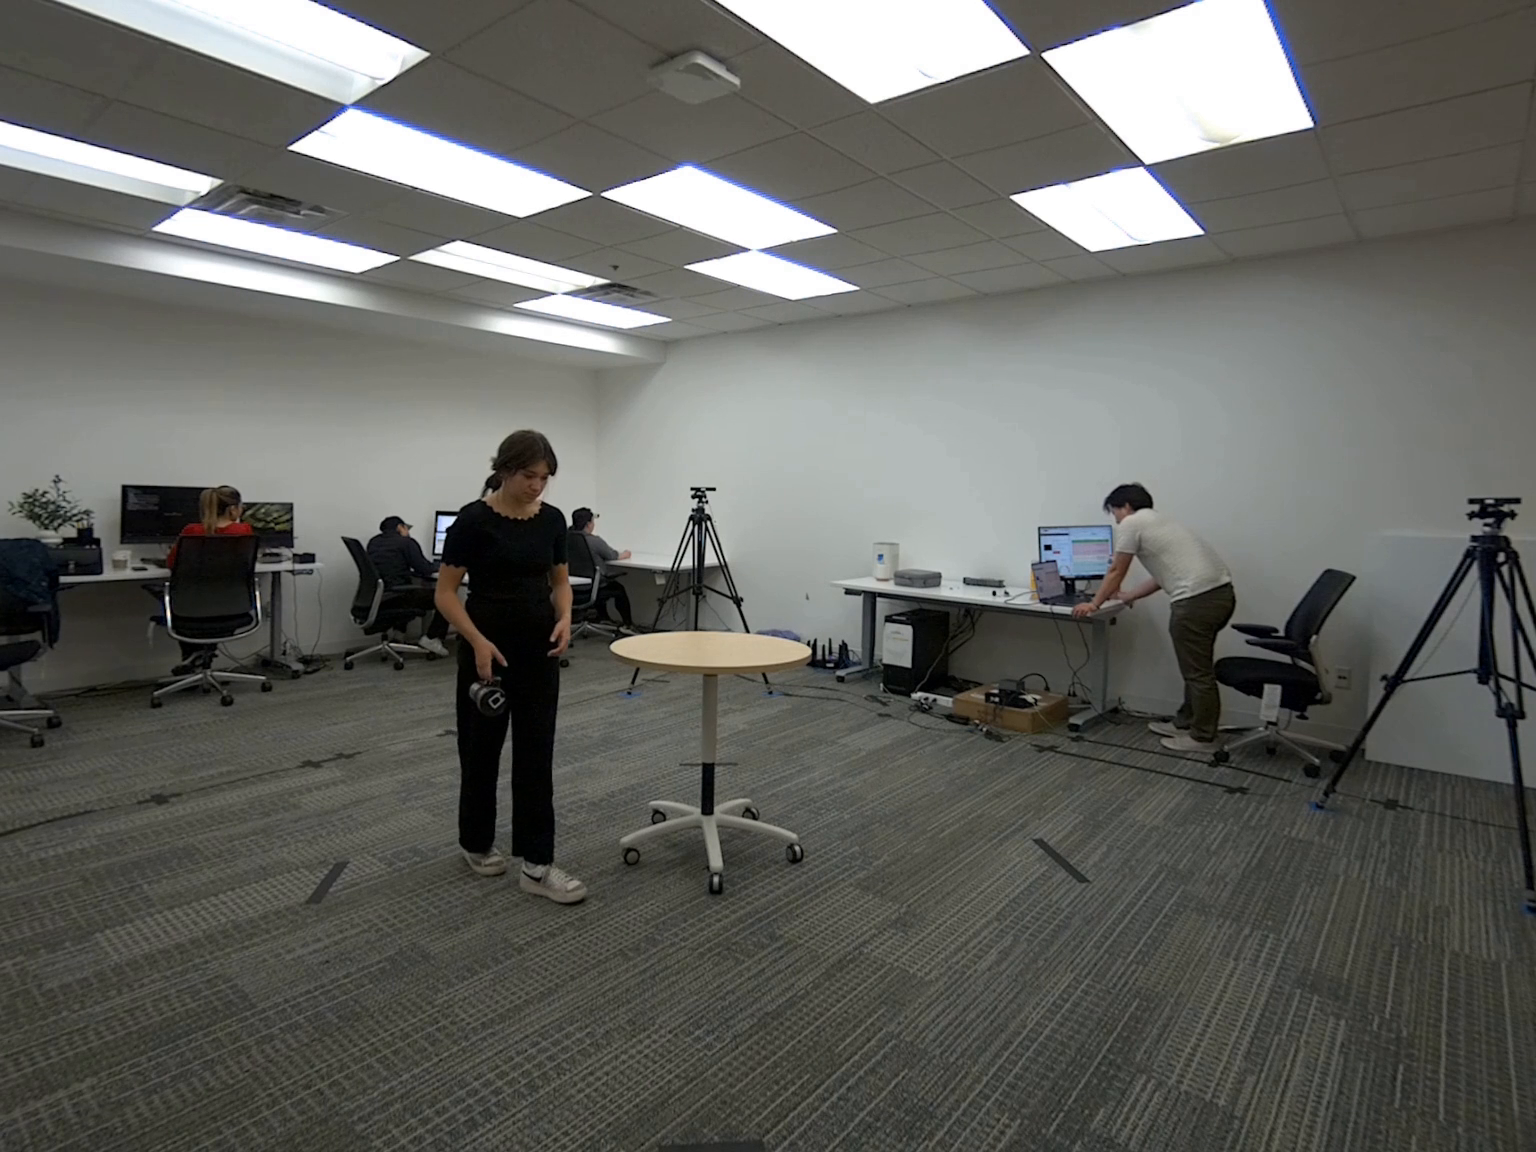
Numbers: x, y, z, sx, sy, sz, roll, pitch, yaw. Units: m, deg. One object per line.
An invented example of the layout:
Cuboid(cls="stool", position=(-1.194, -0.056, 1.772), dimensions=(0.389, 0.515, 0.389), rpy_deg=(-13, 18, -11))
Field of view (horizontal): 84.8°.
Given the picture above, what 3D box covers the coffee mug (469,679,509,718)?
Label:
Cuboid(cls="coffee mug", position=(-0.903, 0.367, 2.752), dimensions=(0.085, 0.122, 0.208), rpy_deg=(39, -14, -24))
